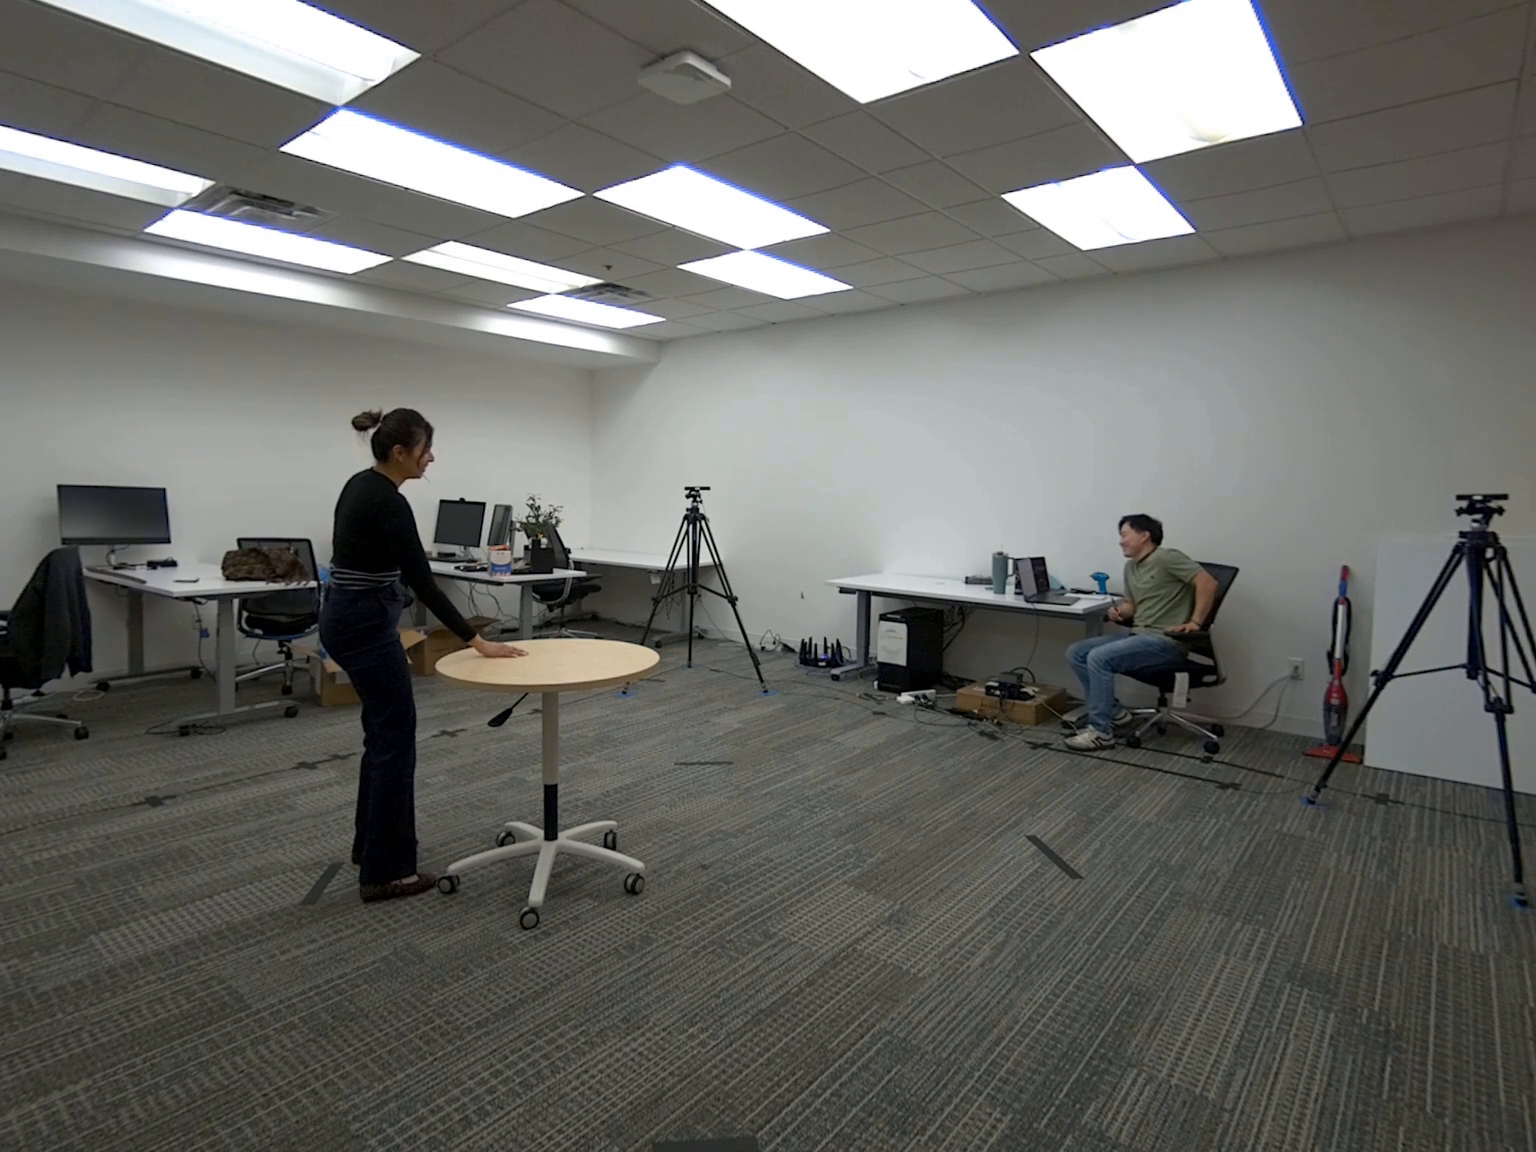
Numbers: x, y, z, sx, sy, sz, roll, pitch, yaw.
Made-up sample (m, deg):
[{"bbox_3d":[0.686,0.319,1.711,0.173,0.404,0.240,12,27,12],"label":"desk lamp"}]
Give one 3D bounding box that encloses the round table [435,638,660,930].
[{"bbox_3d":[-0.775,0.682,2.998,0.763,0.791,0.768,0,4,-2],"label":"round table"}]
